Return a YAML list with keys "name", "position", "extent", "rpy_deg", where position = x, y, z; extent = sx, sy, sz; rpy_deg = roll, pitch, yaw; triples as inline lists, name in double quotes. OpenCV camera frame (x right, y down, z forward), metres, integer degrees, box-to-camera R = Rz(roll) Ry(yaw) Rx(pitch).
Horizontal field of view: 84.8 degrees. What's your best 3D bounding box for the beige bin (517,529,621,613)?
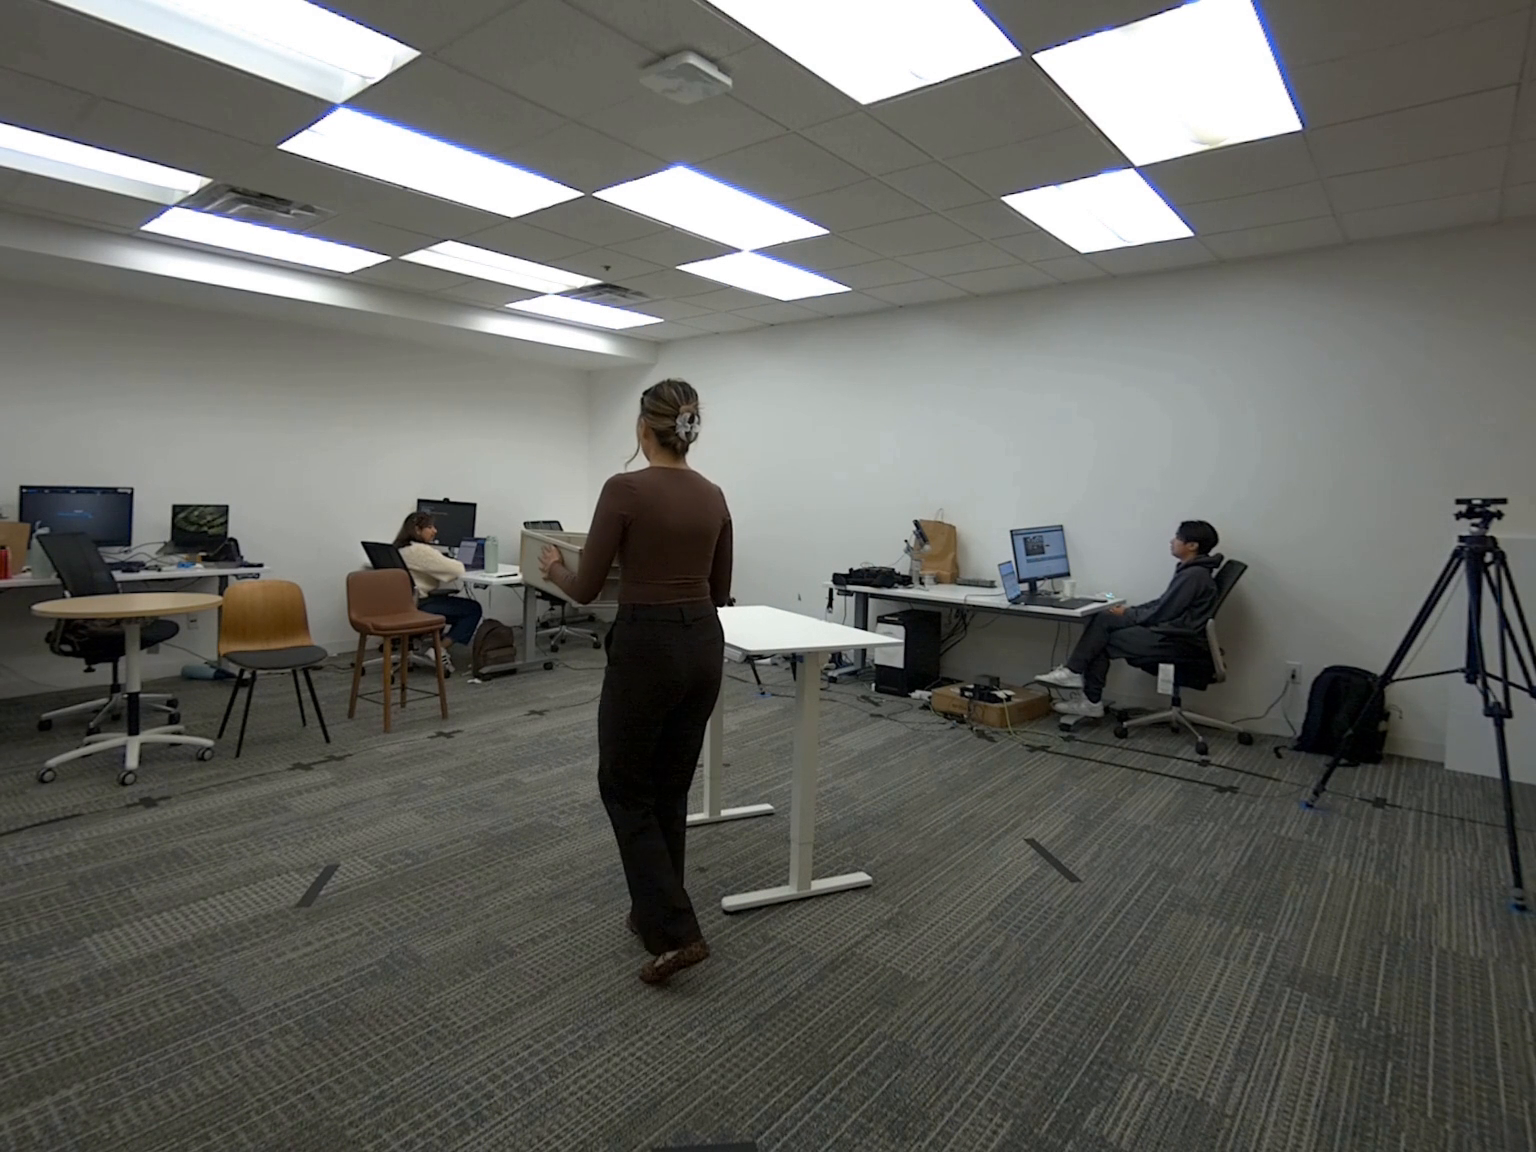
- name: "beige bin"
  position: [-0.557, -0.025, 2.772]
  extent: [0.365, 0.188, 0.438]
  rpy_deg: [1, 9, -39]
